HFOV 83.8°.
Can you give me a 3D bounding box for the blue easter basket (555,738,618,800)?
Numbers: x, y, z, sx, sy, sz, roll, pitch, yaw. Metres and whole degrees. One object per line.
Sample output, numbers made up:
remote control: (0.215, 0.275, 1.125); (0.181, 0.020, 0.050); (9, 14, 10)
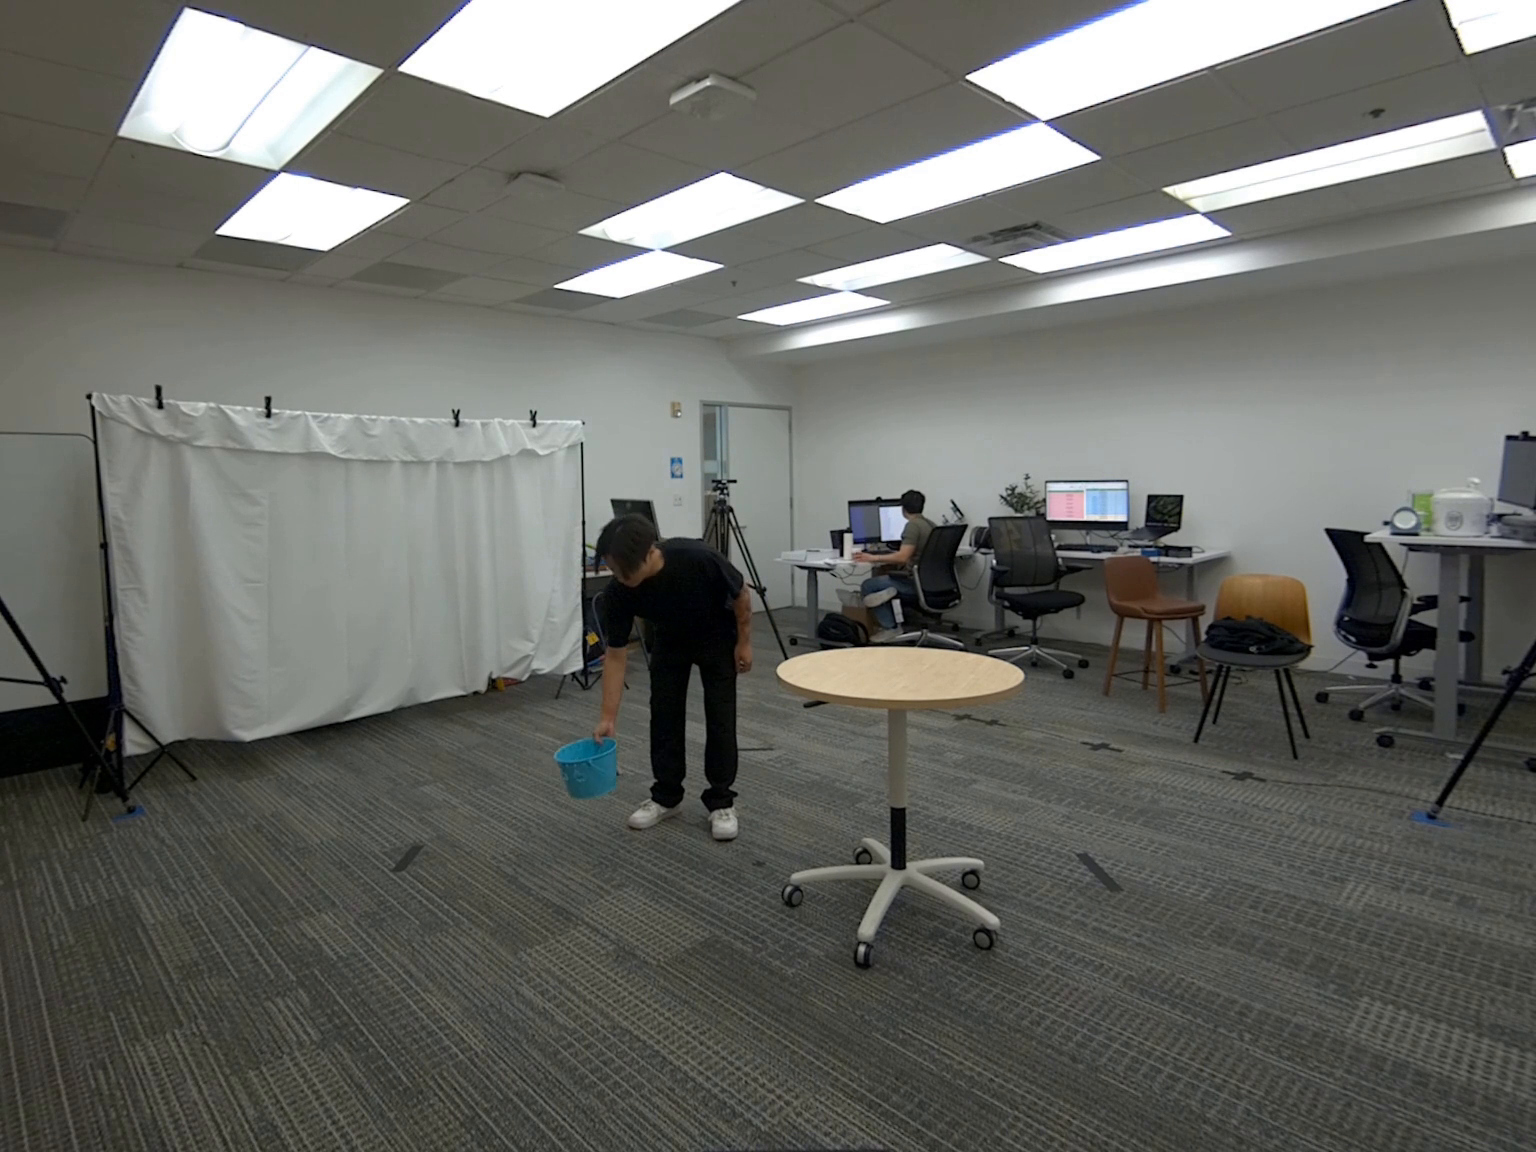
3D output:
blue easter basket: (-0.657, 0.707, 3.148); (0.243, 0.155, 0.245); (-7, 9, -1)
